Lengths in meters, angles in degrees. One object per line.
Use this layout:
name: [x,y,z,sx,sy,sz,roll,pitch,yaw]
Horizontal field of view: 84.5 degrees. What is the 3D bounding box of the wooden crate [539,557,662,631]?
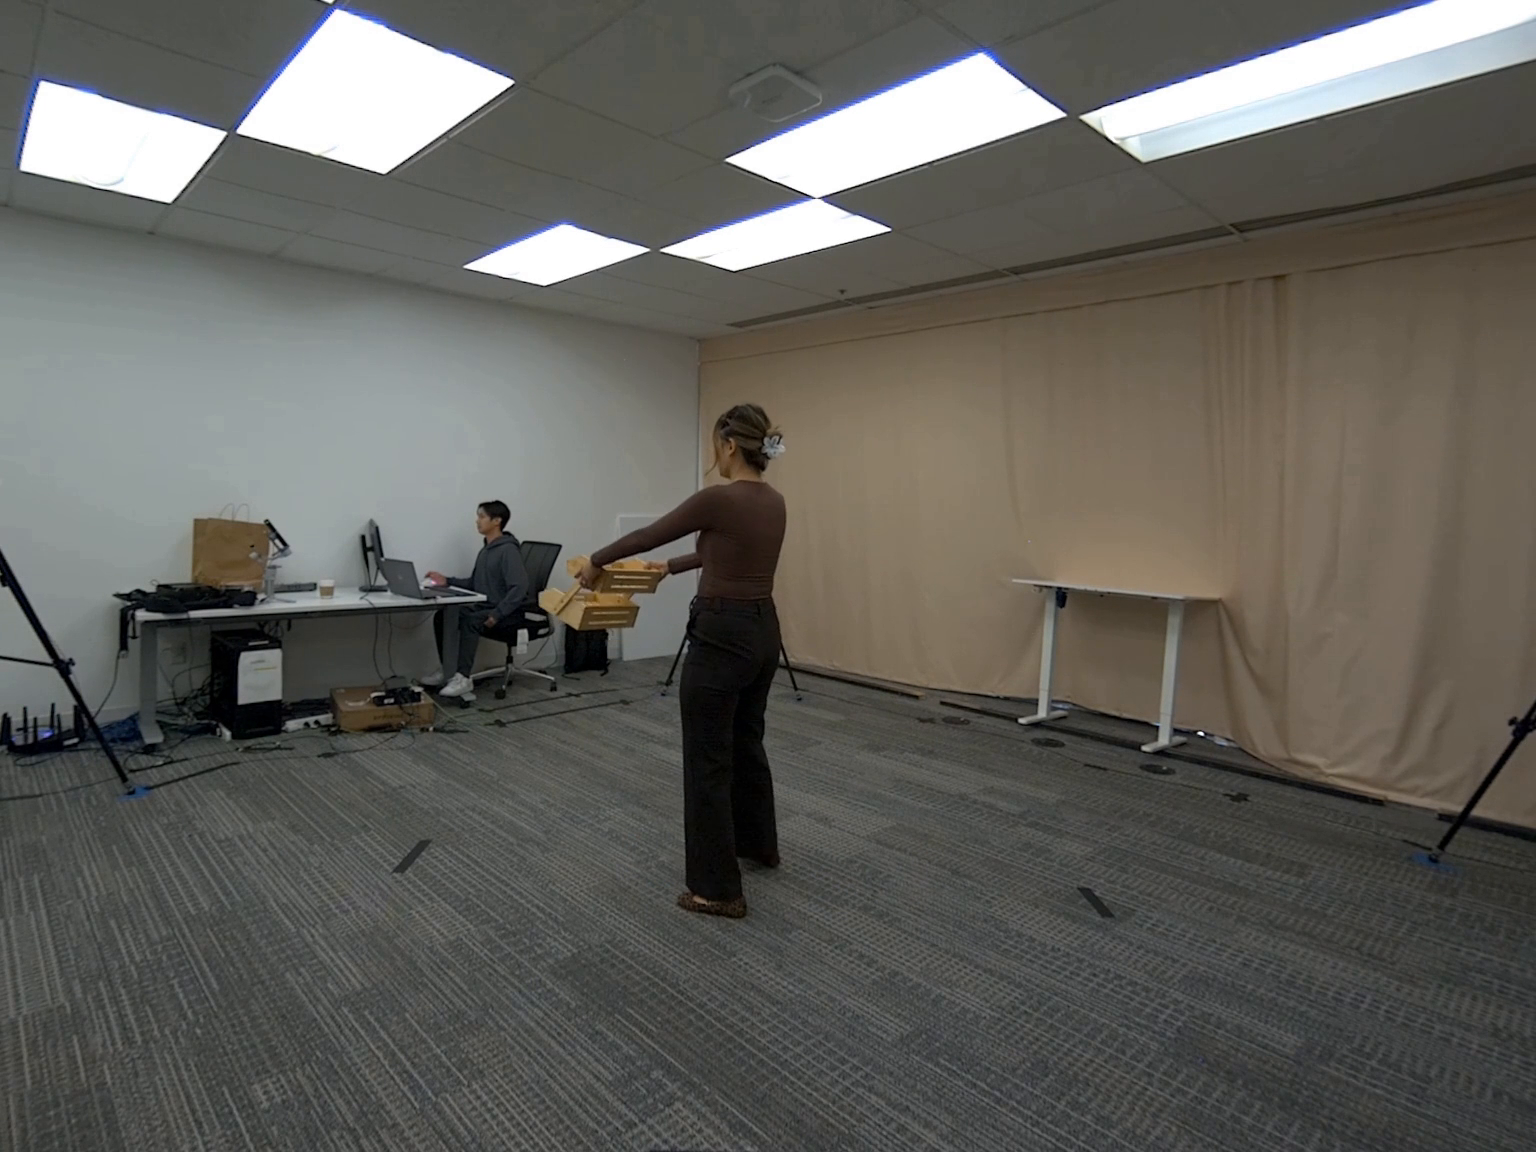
wooden crate: [-0.656,0.045,3.243,0.311,0.272,0.317,26,13,33]
